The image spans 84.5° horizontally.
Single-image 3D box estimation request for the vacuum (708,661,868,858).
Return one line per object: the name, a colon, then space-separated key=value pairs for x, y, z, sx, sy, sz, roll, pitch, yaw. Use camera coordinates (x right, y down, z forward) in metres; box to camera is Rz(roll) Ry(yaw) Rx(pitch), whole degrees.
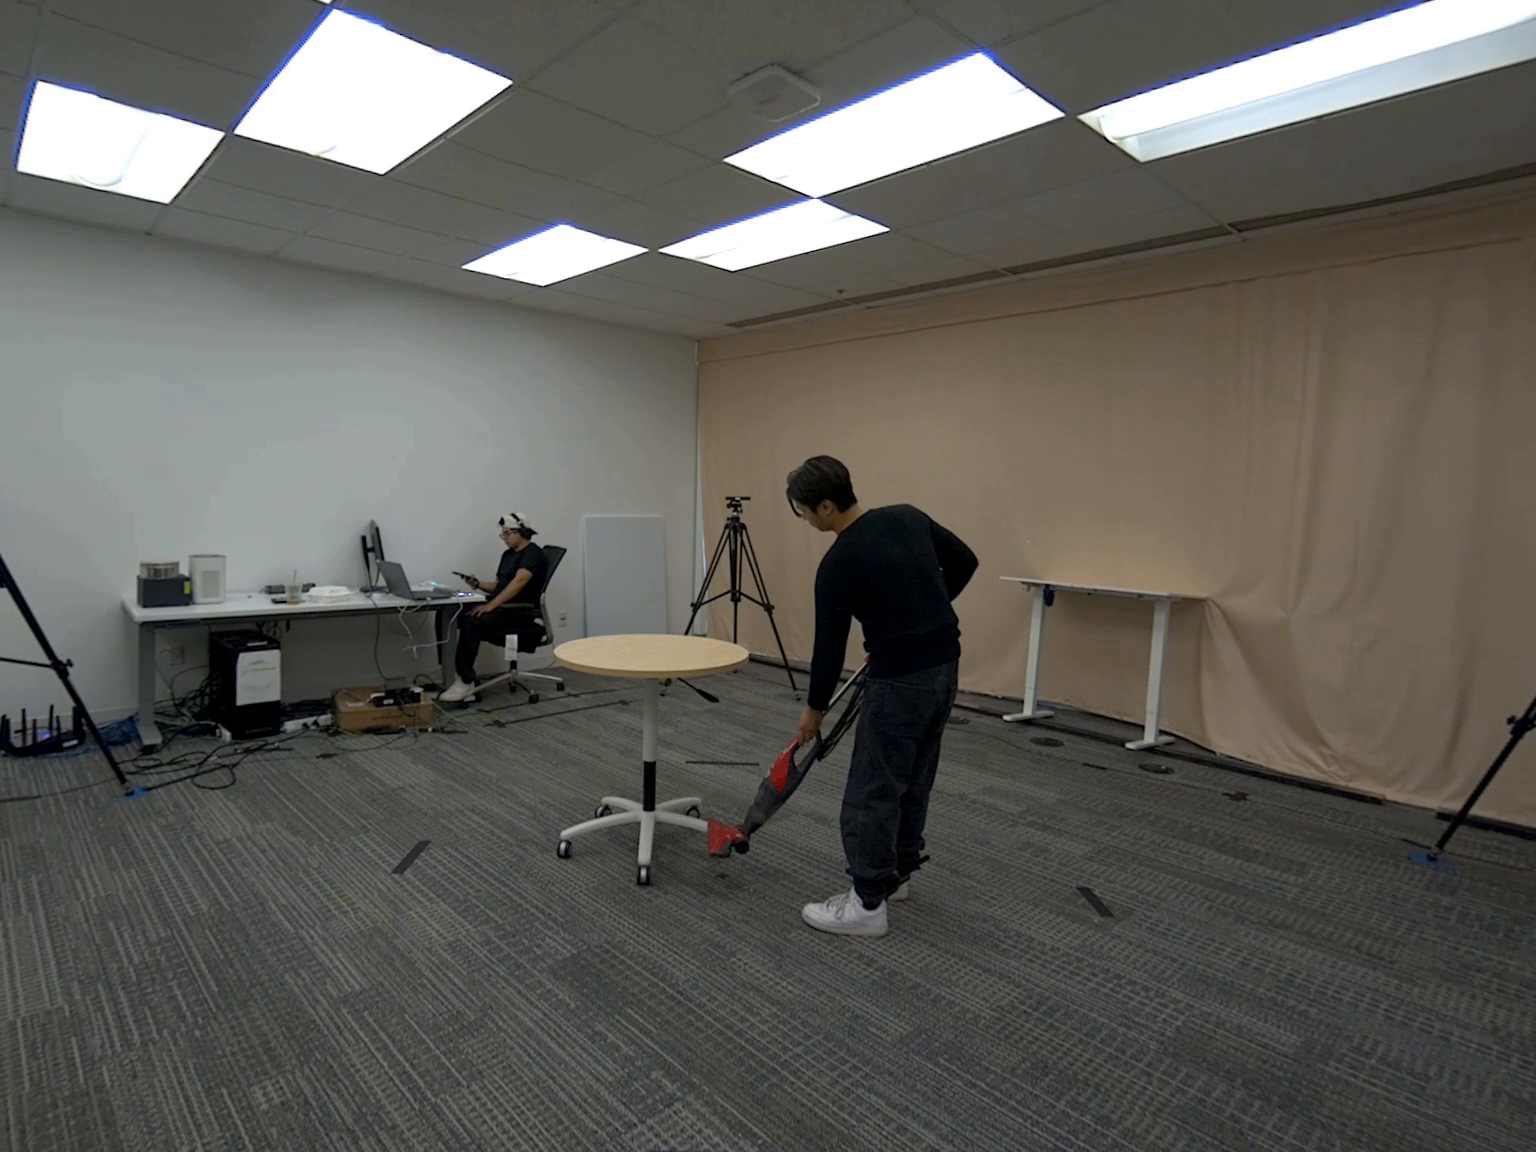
vacuum: x=0.175 y=0.565 z=3.008 sx=0.142 sy=1.049 sz=0.255 roll=39 pitch=3 yaw=-10
